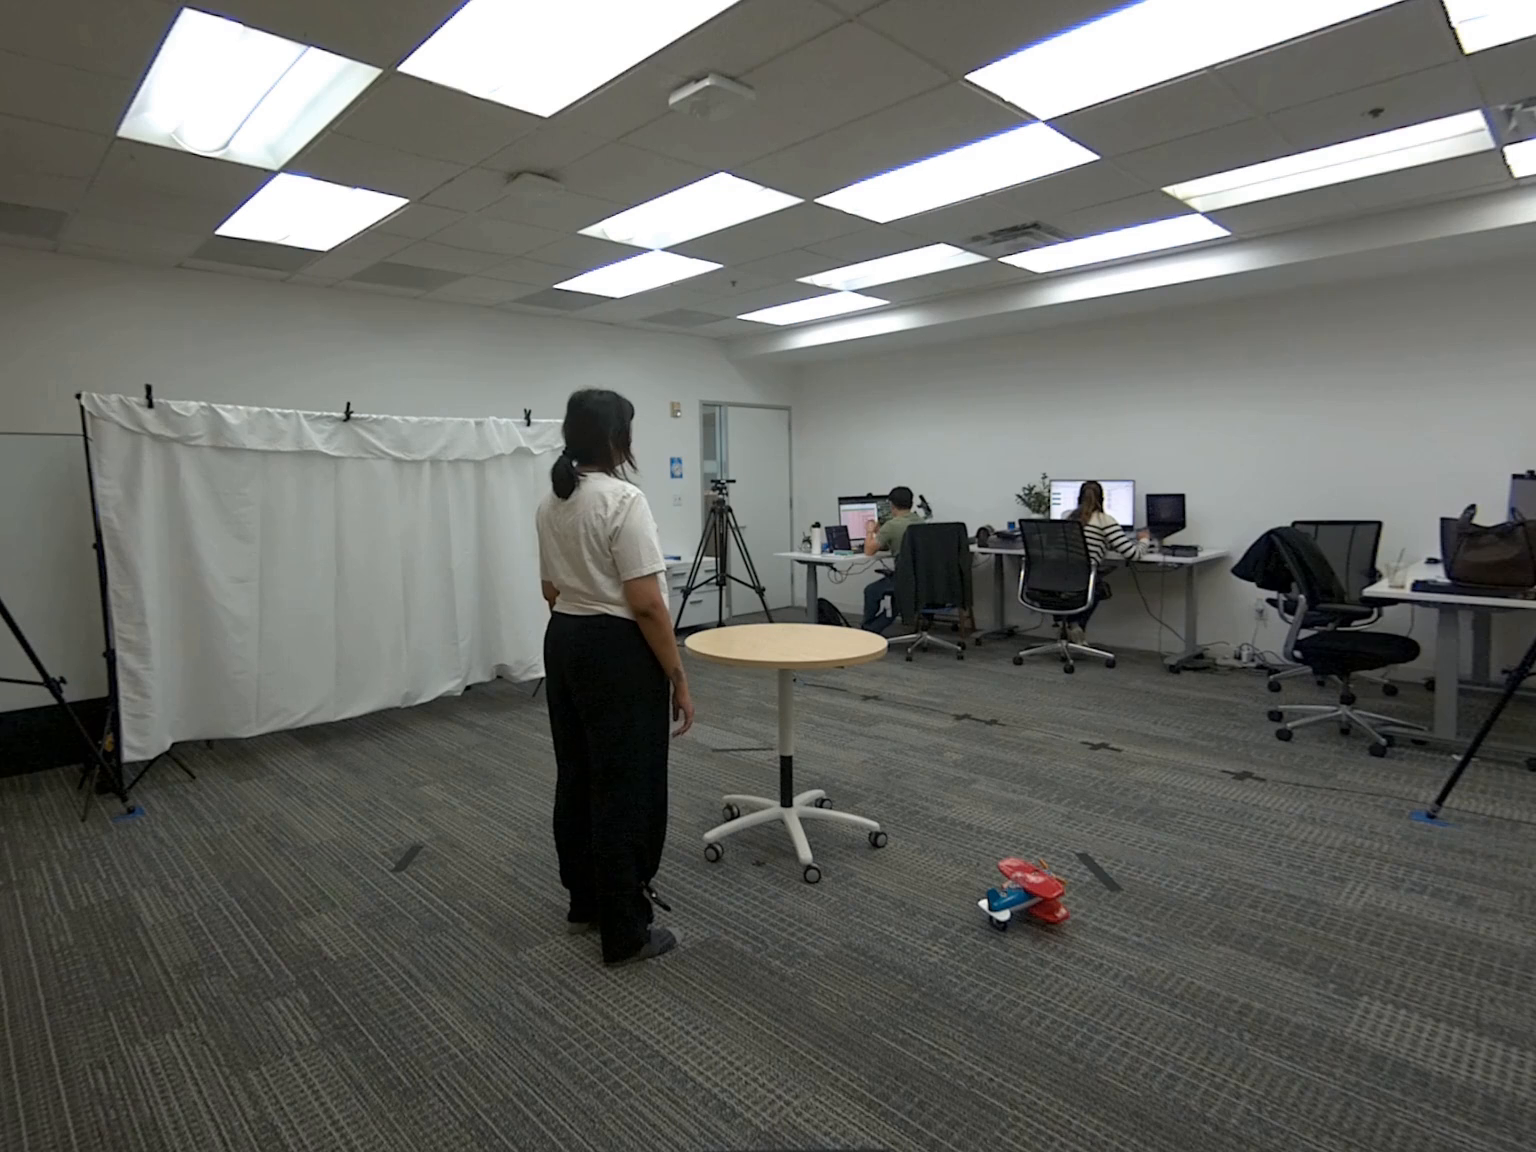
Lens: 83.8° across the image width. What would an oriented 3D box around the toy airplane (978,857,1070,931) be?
[{"bbox_3d":[0.811,1.009,2.651,0.259,0.156,0.252,4,7,40],"label":"toy airplane"}]
